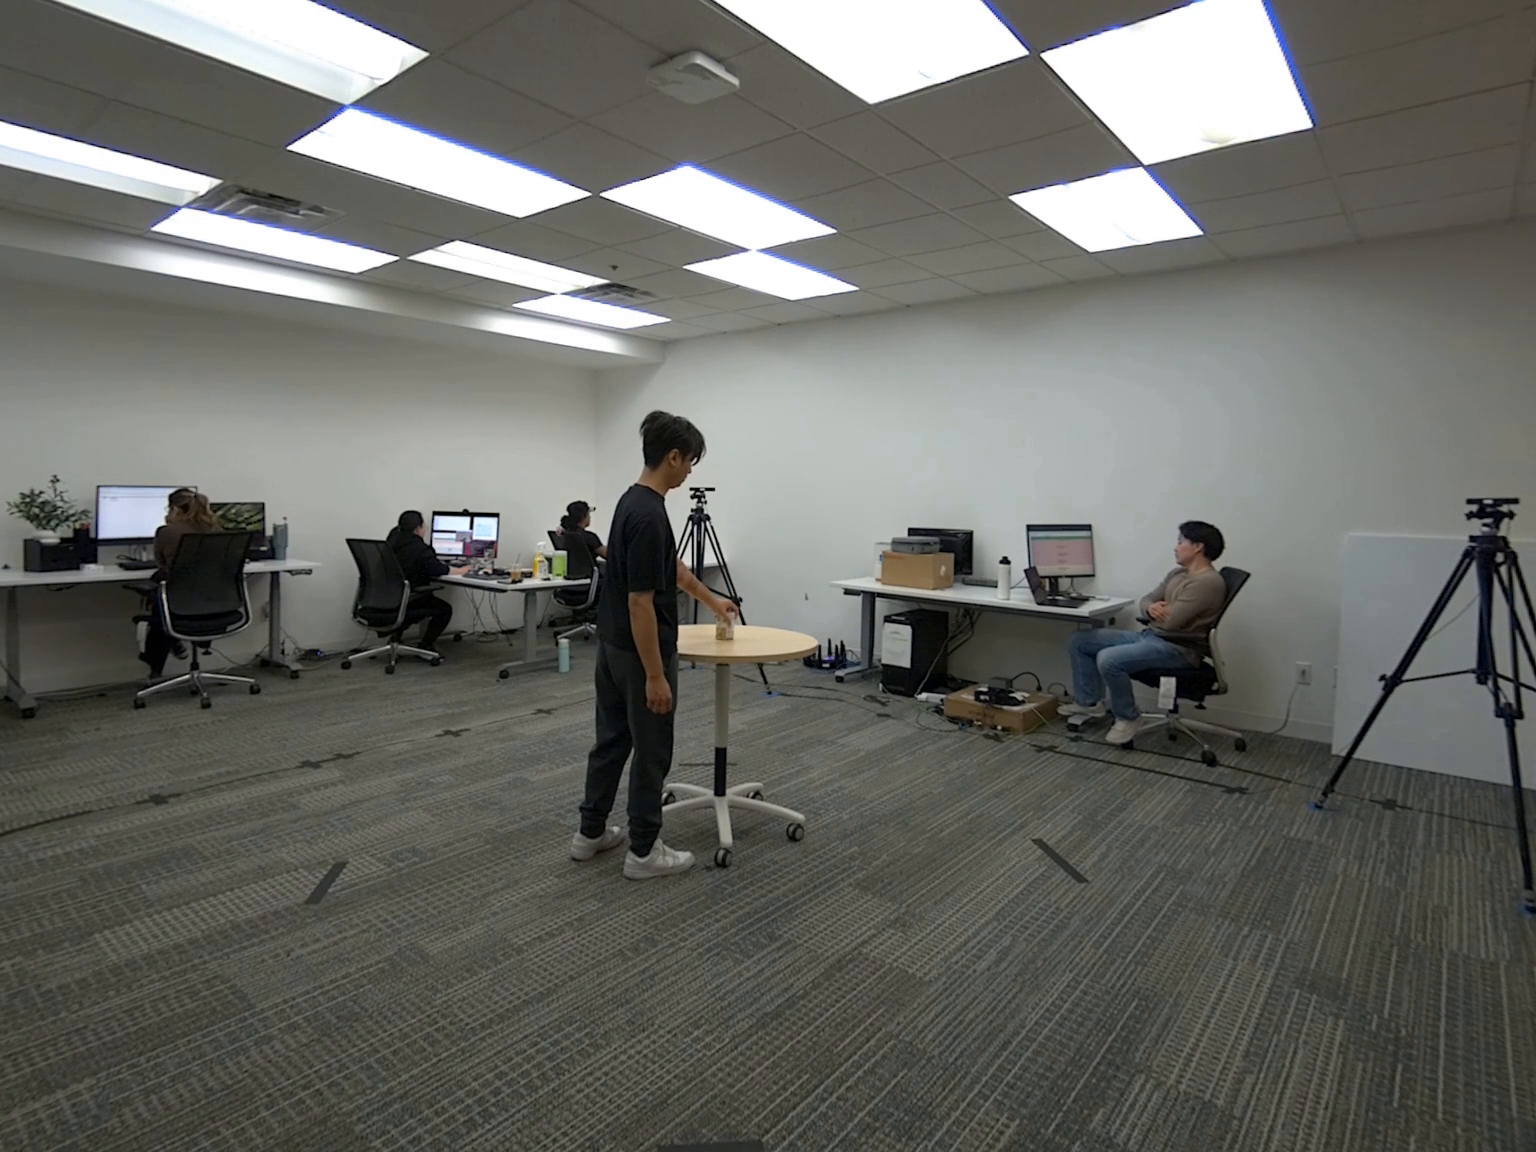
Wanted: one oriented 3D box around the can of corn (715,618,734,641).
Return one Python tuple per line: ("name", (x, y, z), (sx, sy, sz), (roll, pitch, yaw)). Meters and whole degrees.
("can of corn", (-0.183, 0.191, 3.448), (0.074, 0.110, 0.074), (0, 4, -2))
